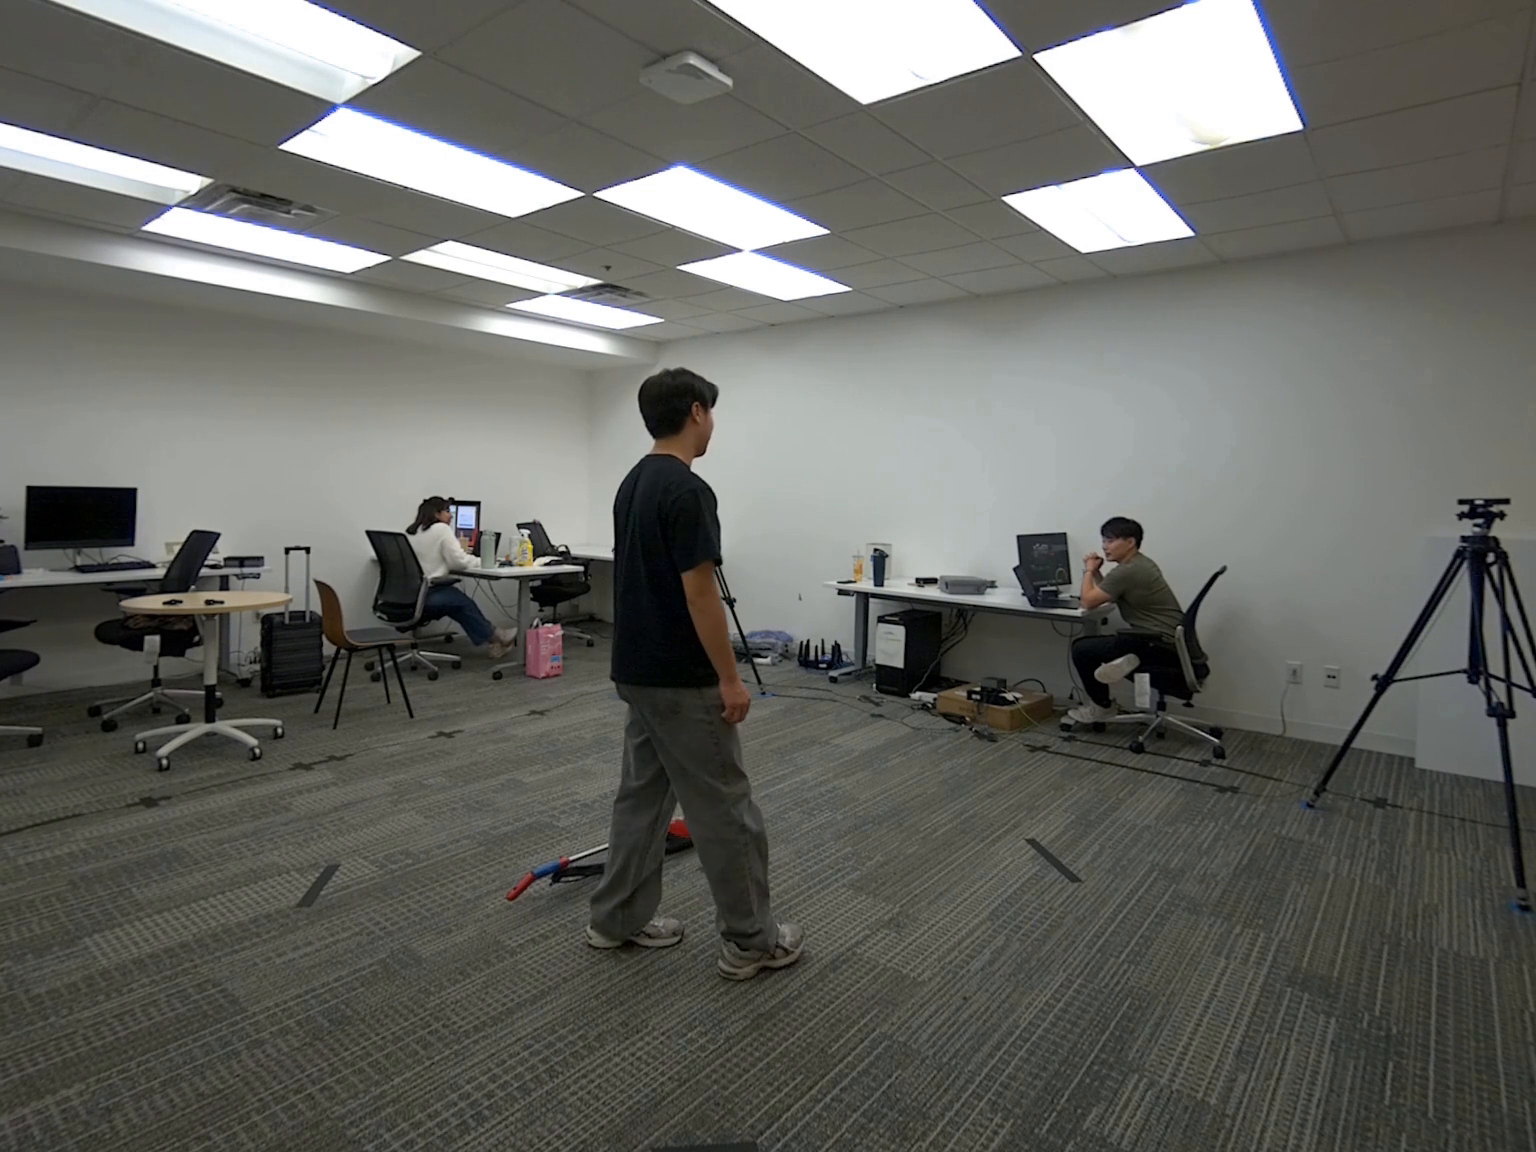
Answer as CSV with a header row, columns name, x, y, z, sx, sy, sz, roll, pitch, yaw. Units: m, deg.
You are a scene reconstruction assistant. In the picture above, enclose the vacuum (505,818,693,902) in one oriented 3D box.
name,x,y,z,sx,sy,sz,roll,pitch,yaw
vacuum,-0.503,1.003,3.120,0.261,0.143,1.019,7,8,40
